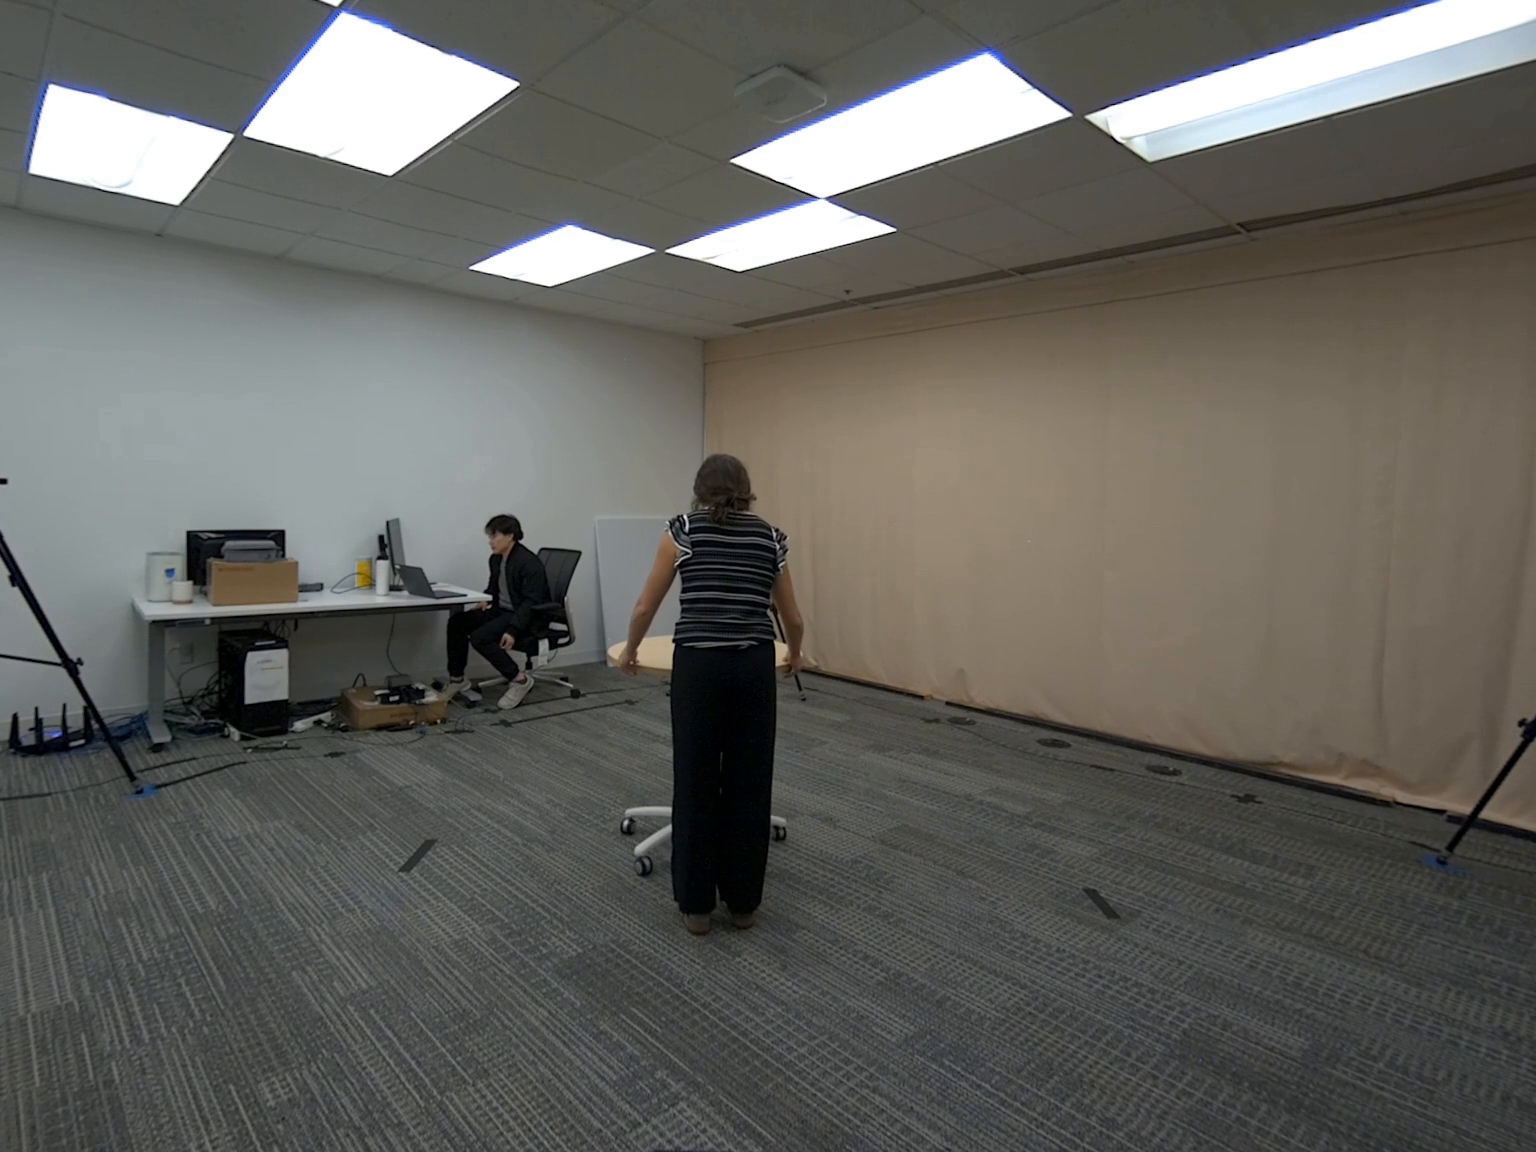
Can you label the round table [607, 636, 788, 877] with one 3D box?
[{"bbox_3d":[-0.273,0.688,3.355,0.784,0.784,0.788,2,4,-1],"label":"round table"}]
